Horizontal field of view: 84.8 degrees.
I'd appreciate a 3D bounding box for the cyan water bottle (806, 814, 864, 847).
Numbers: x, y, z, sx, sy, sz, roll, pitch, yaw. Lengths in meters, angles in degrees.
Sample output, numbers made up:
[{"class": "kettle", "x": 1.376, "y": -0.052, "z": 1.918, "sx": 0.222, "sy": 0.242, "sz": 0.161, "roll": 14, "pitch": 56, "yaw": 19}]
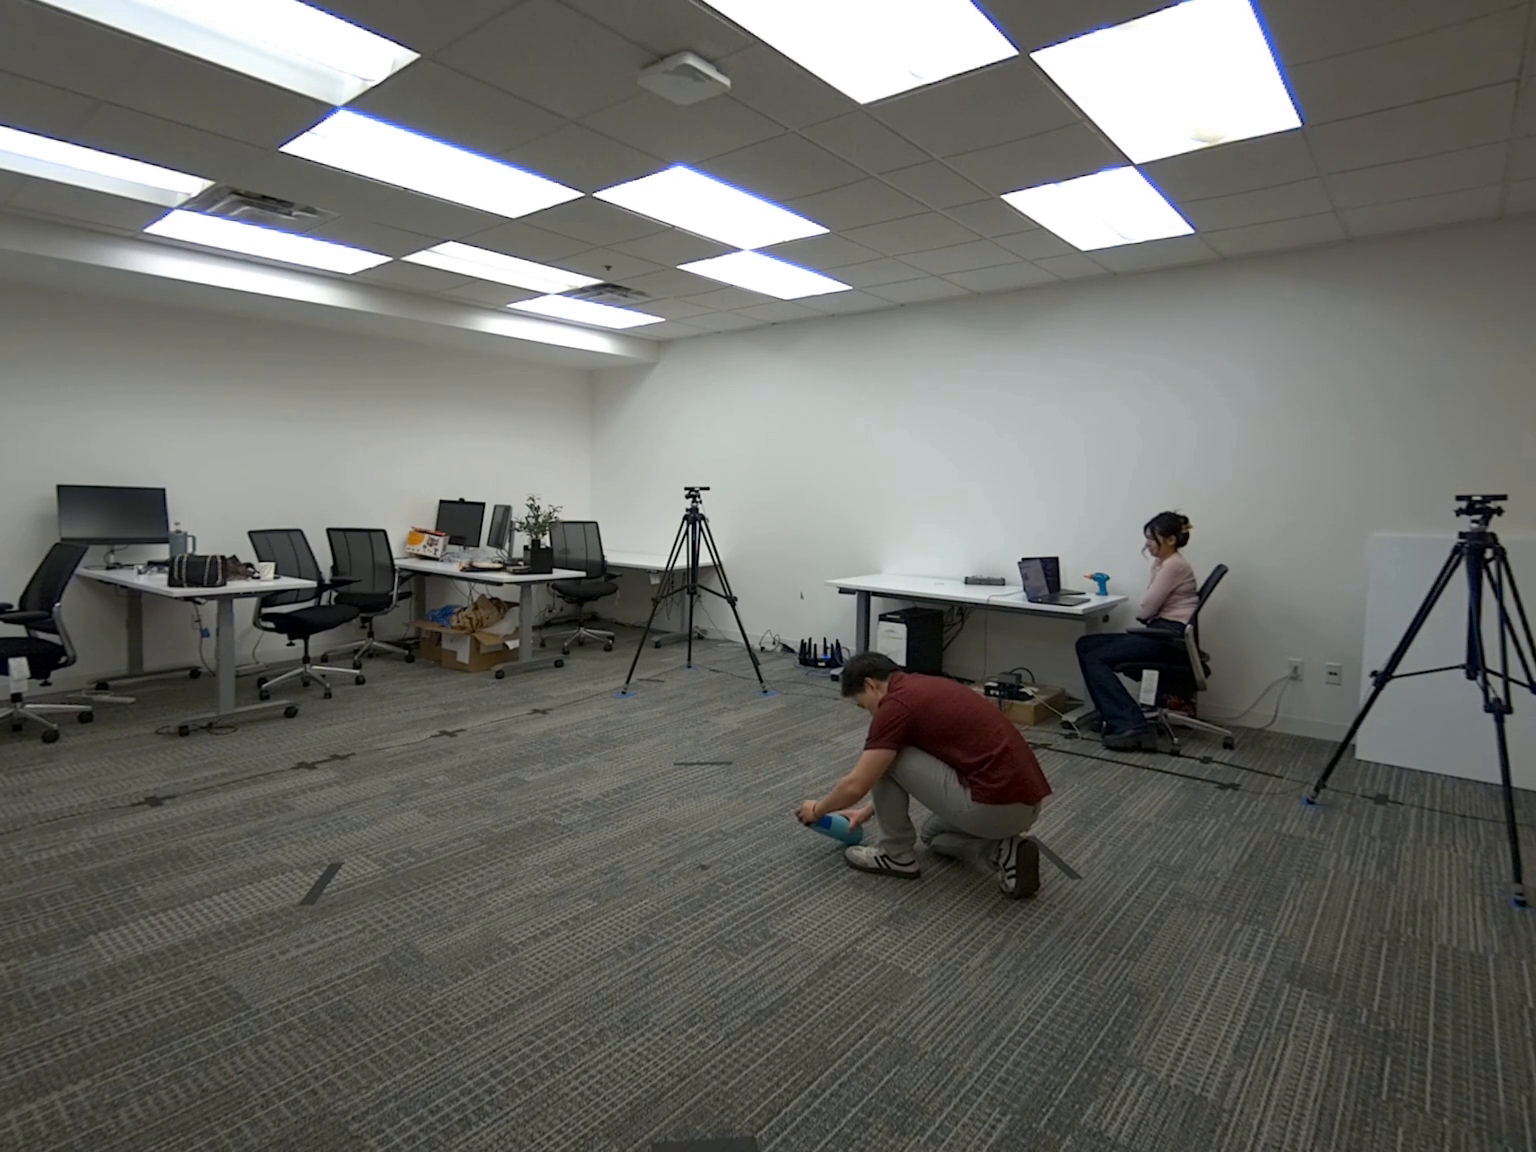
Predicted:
[{"class": "cyan water bottle", "x": 0.242, "y": 0.961, "z": 3.286, "sx": 0.274, "sy": 0.093, "sz": 0.095, "roll": 29, "pitch": -11, "yaw": -28}]
